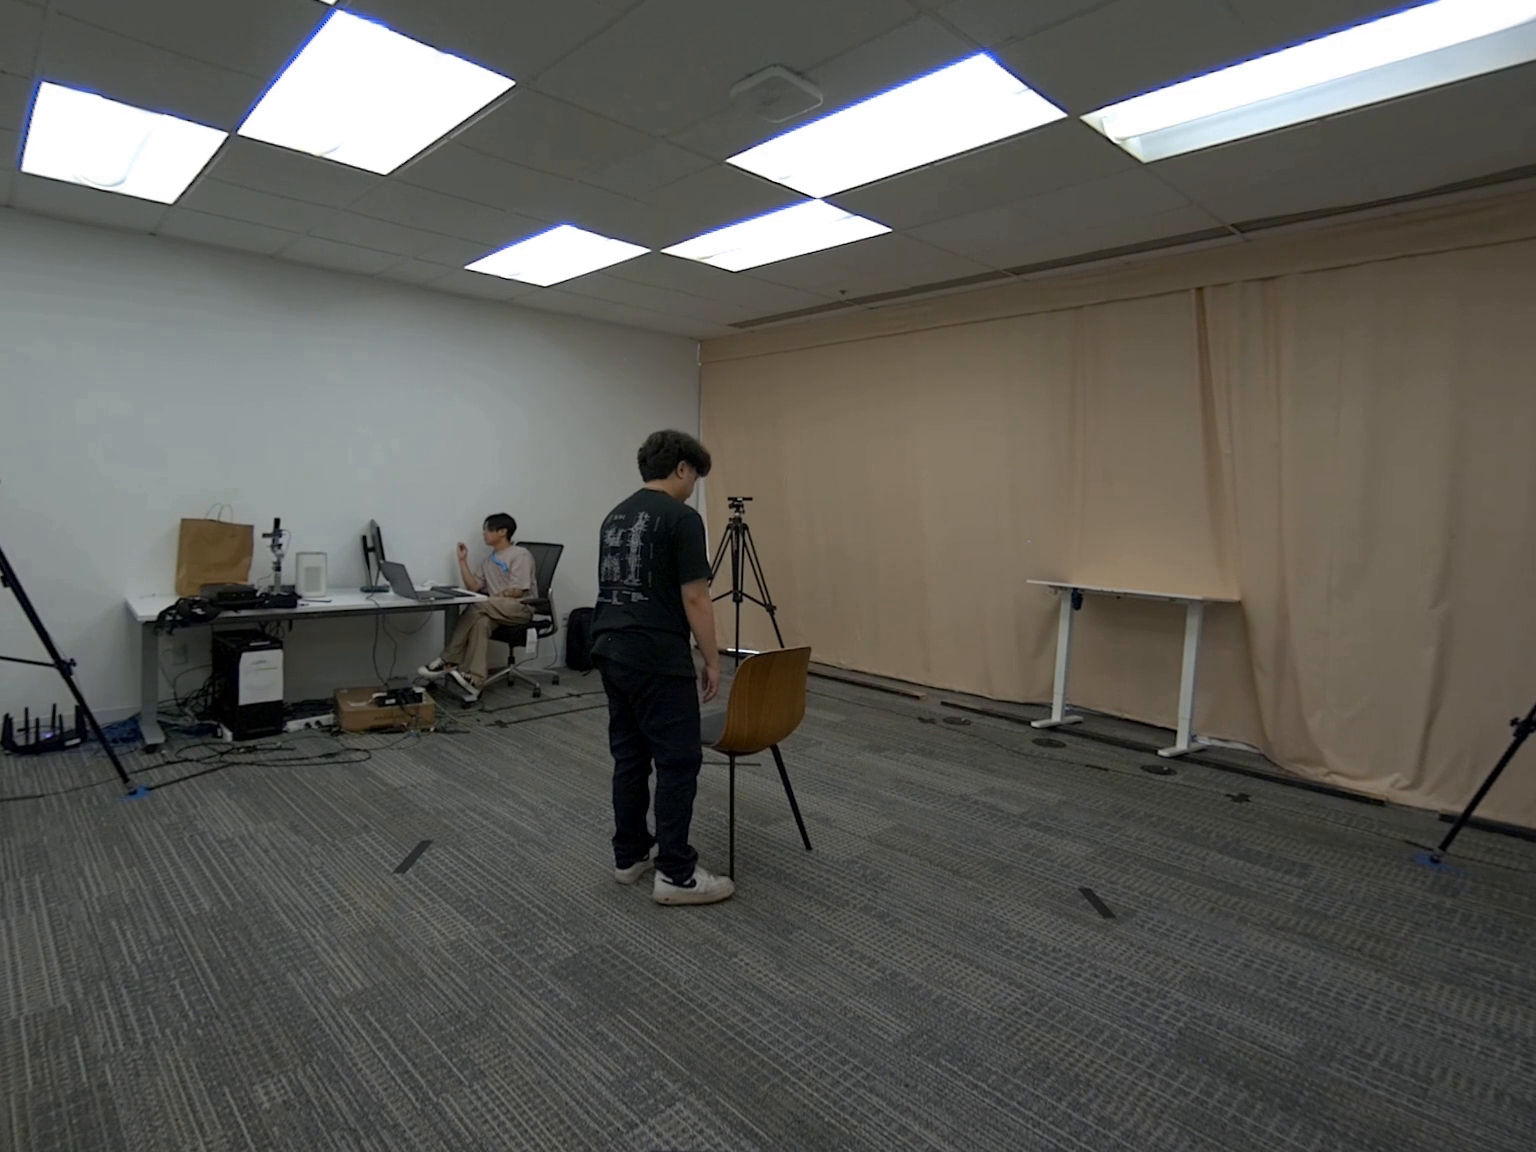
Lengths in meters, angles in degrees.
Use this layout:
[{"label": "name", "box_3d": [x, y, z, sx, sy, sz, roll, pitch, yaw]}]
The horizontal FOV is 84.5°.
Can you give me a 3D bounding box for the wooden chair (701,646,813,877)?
[{"label": "wooden chair", "box_3d": [-0.144, 0.657, 3.336, 0.537, 0.873, 0.467, 10, 9, 44]}]
